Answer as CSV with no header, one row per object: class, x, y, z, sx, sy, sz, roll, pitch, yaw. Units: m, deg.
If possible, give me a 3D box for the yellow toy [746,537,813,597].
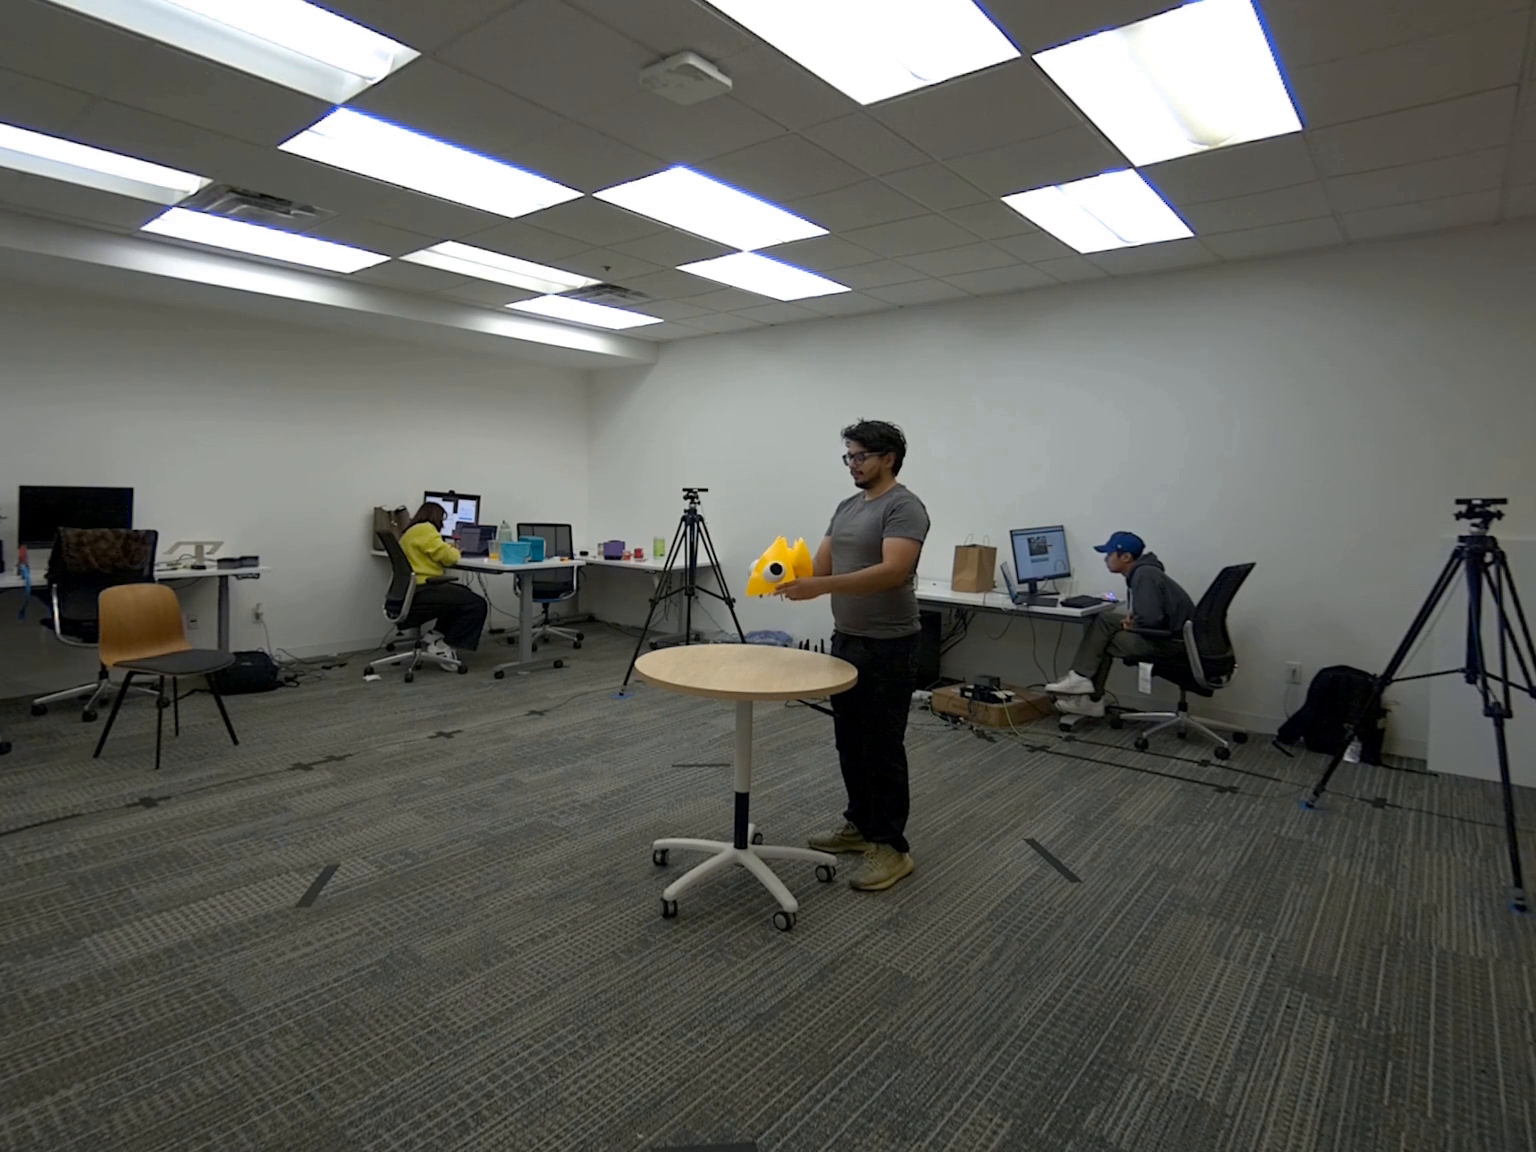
yellow toy,-0.003,-0.025,2.998,0.226,0.190,0.211,-18,15,-30
